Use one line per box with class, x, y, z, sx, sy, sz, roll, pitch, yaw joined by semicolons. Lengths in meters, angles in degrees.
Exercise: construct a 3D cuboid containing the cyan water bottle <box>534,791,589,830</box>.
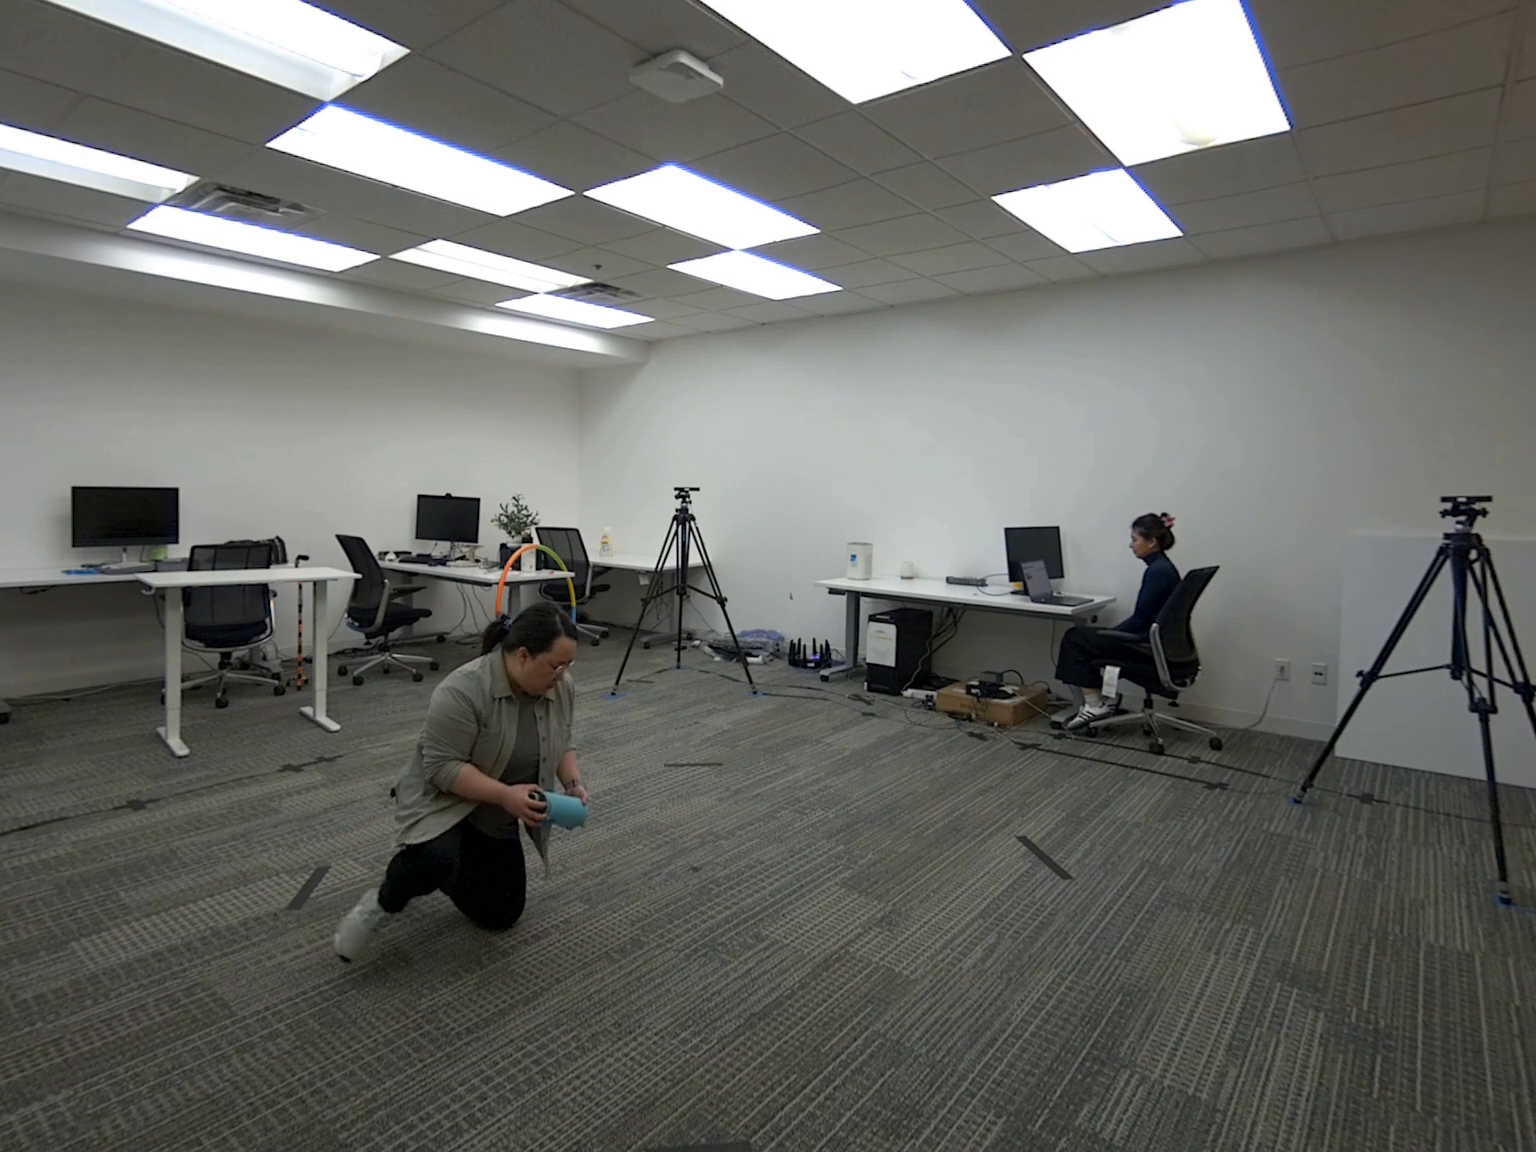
cyan water bottle;-0.679;0.713;2.557;0.094;0.093;0.273;3;-19;22
